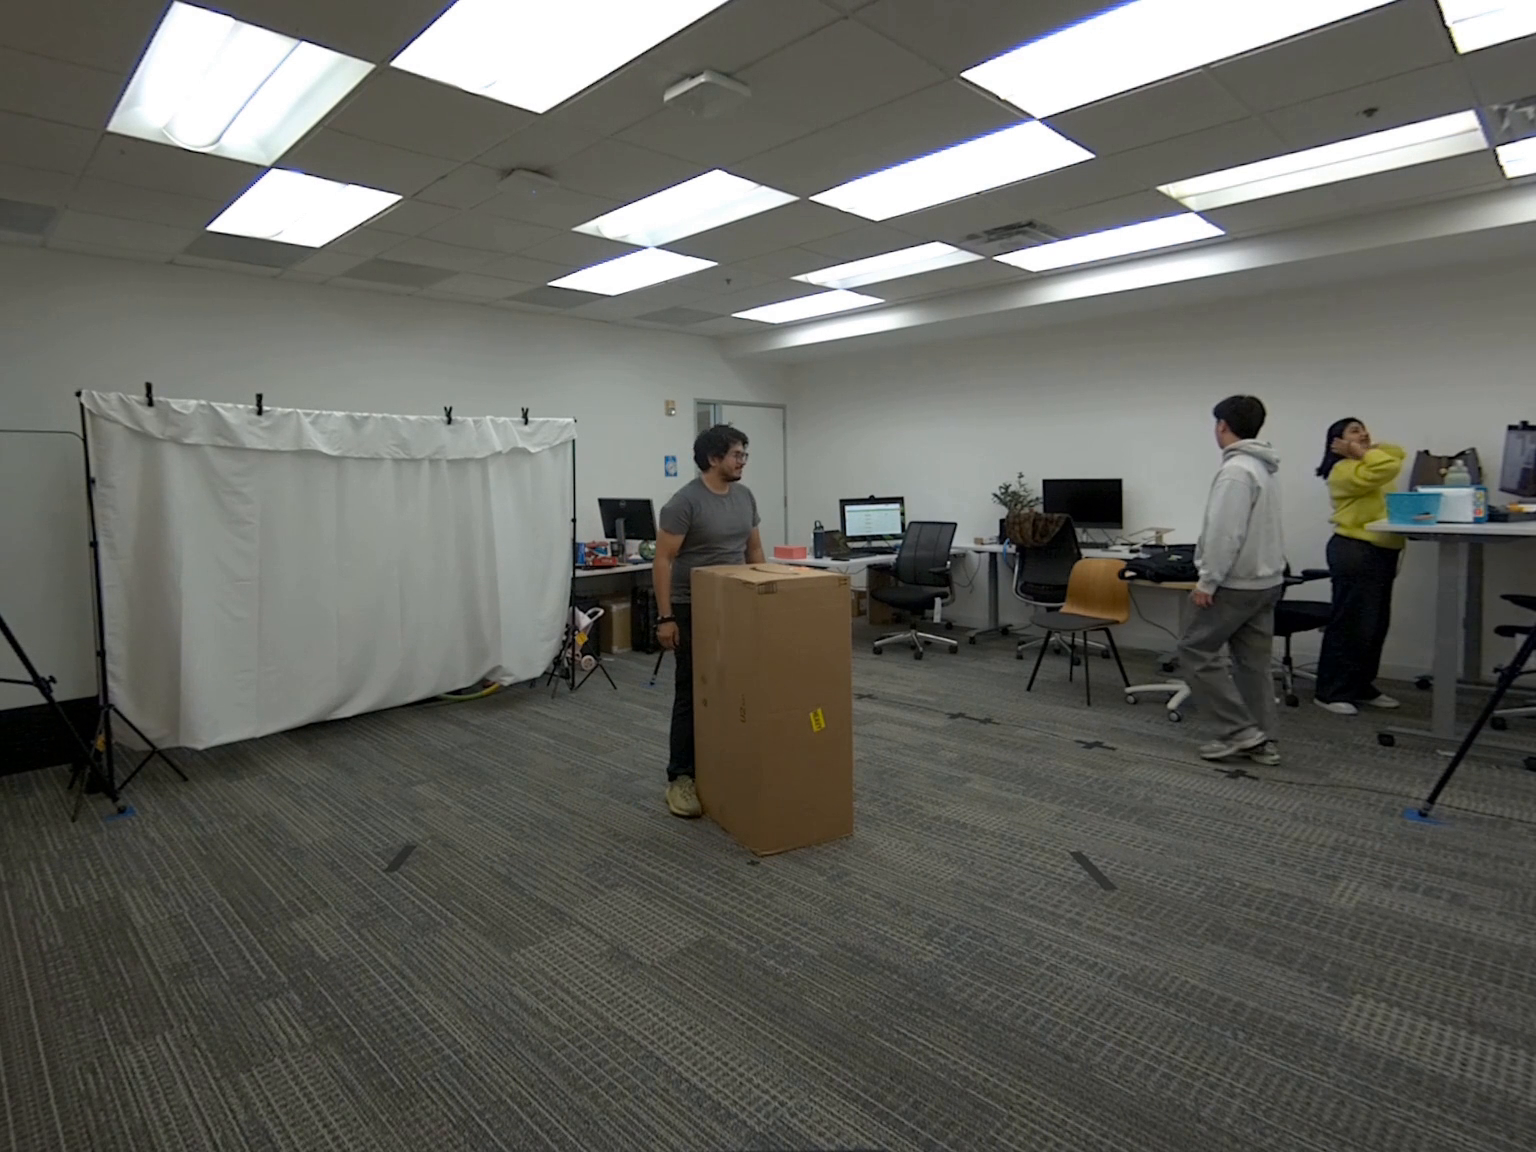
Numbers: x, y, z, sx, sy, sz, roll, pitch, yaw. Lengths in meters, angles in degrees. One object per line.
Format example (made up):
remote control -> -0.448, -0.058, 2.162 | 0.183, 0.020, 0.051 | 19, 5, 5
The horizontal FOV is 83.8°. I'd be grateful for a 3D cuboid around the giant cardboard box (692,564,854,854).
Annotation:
giant cardboard box -> 0.010, 0.493, 3.461 | 0.437, 1.023, 0.599 | -4, 5, -29
